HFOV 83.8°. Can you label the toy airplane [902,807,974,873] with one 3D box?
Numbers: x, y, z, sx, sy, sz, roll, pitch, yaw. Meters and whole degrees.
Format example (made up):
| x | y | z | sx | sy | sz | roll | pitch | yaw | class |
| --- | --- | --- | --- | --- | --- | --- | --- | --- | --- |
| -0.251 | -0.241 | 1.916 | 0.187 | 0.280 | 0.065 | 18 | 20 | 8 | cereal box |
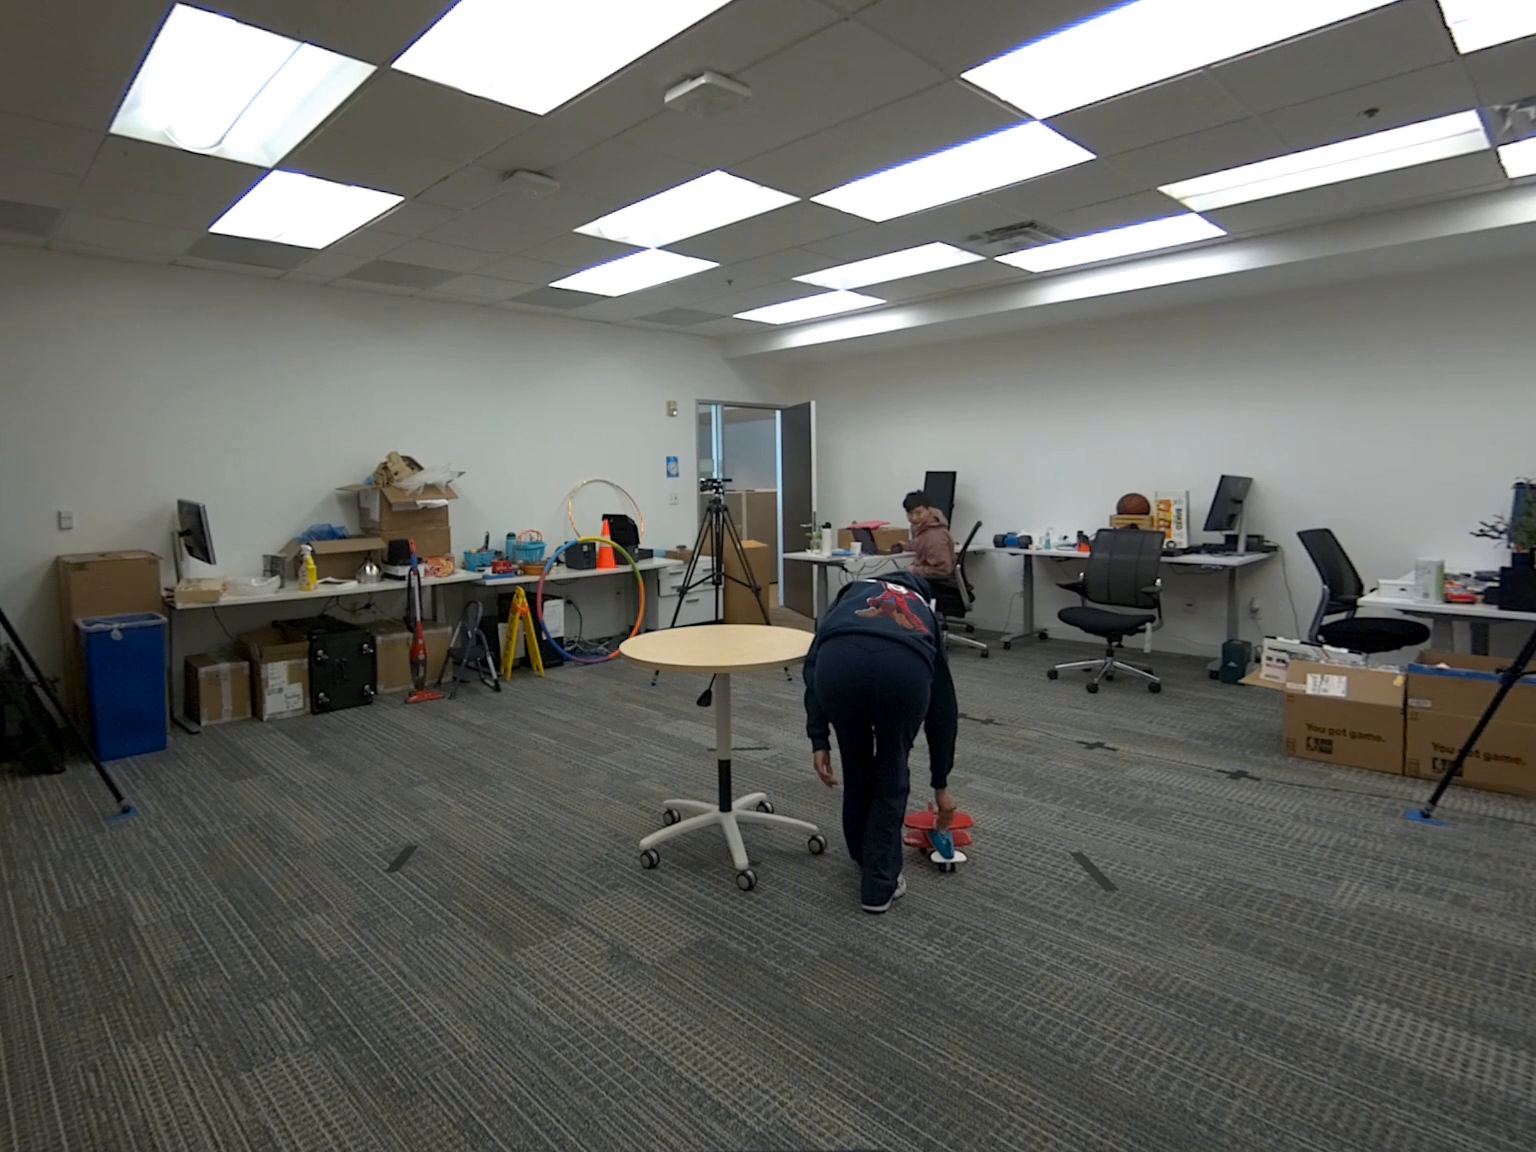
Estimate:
| x | y | z | sx | sy | sz | roll | pitch | yaw | class |
| --- | --- | --- | --- | --- | --- | --- | --- | --- | --- |
| 0.645 | 0.957 | 3.094 | 0.245 | 0.156 | 0.266 | -3 | 6 | -29 | toy airplane |
